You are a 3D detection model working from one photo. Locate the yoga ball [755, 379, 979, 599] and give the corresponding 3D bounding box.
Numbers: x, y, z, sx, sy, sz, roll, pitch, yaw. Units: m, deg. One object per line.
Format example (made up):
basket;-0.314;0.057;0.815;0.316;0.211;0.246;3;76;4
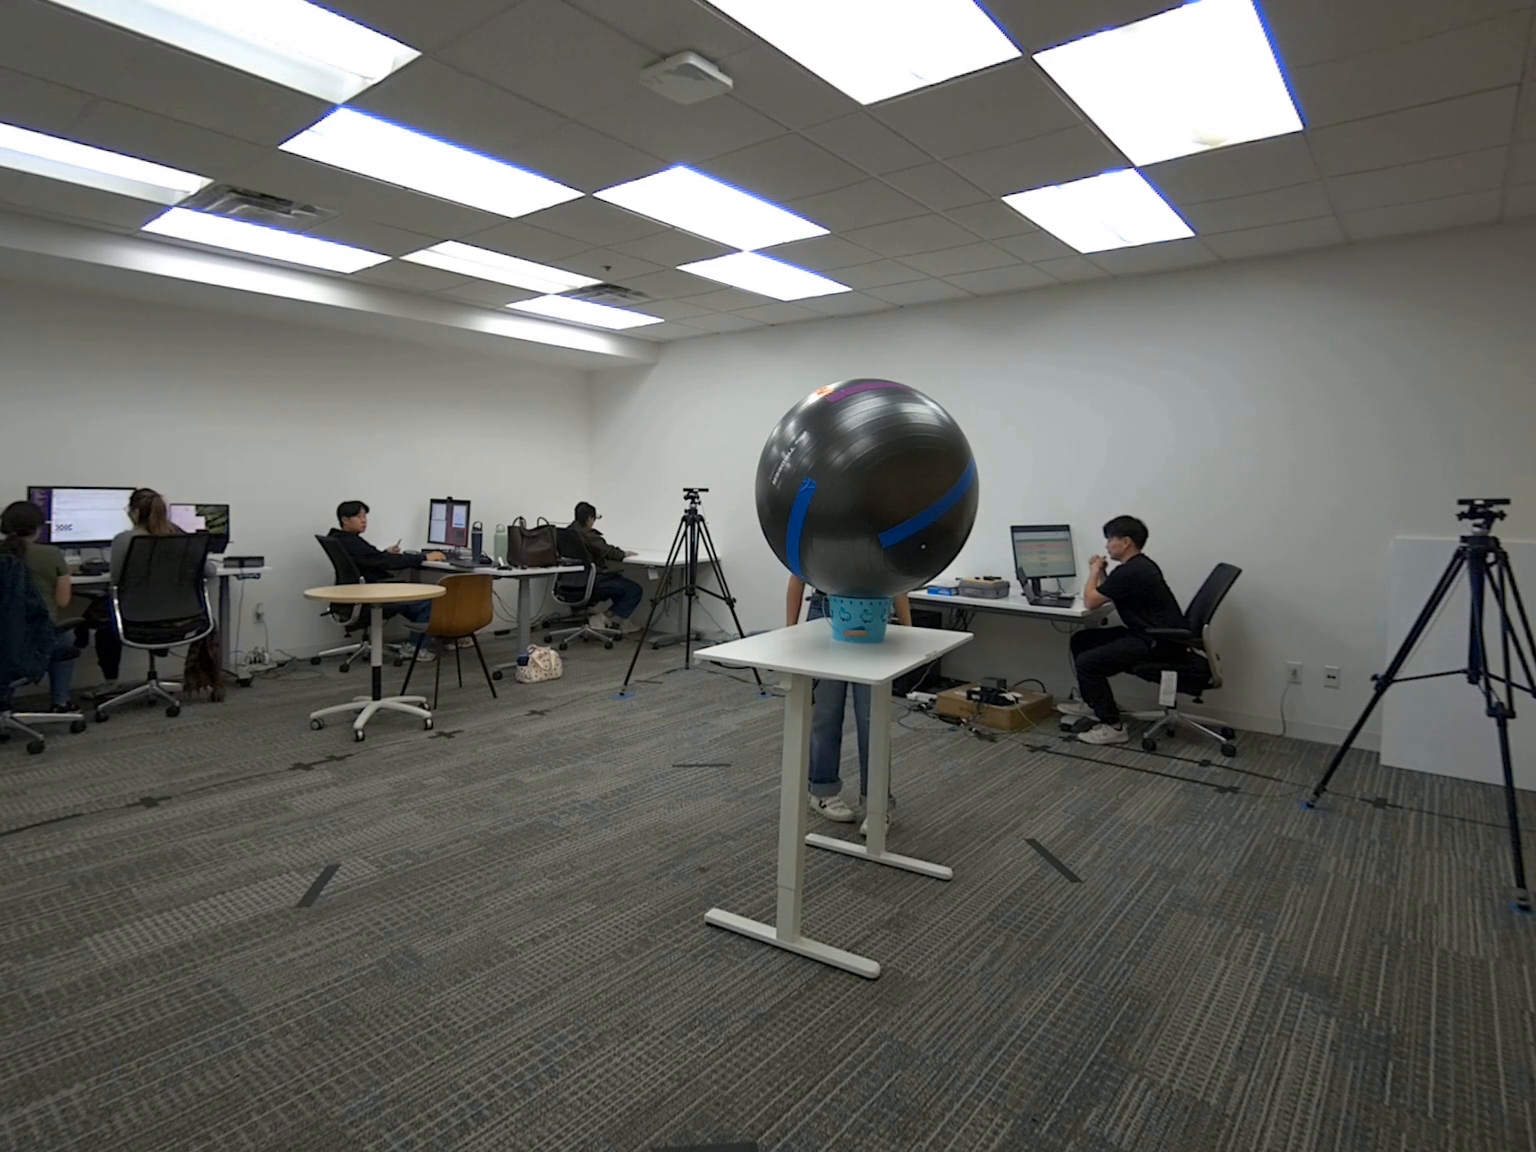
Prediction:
yoga ball;0.325;-0.293;2.932;0.757;0.756;0.762;1;4;-2
